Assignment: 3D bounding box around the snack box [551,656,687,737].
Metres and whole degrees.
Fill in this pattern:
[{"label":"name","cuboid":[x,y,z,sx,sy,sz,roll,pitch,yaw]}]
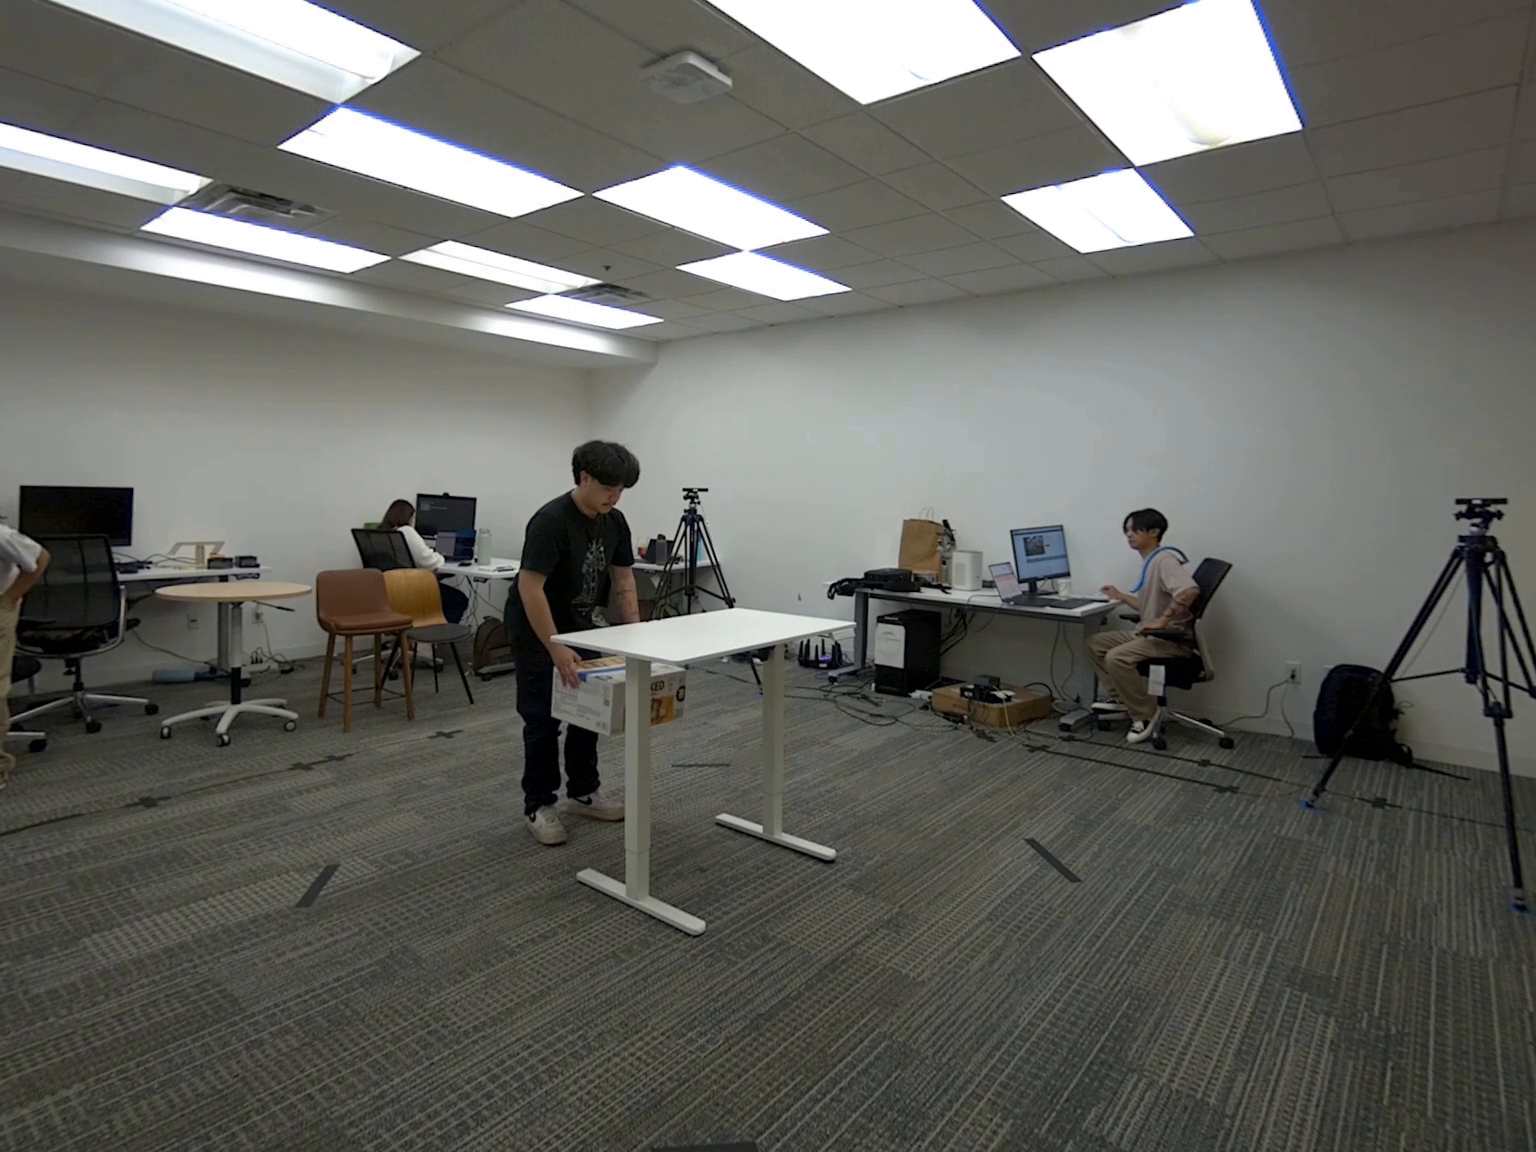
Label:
[{"label":"snack box","cuboid":[-0.598,0.465,3.354,0.352,0.205,0.393,7,7,38]}]
